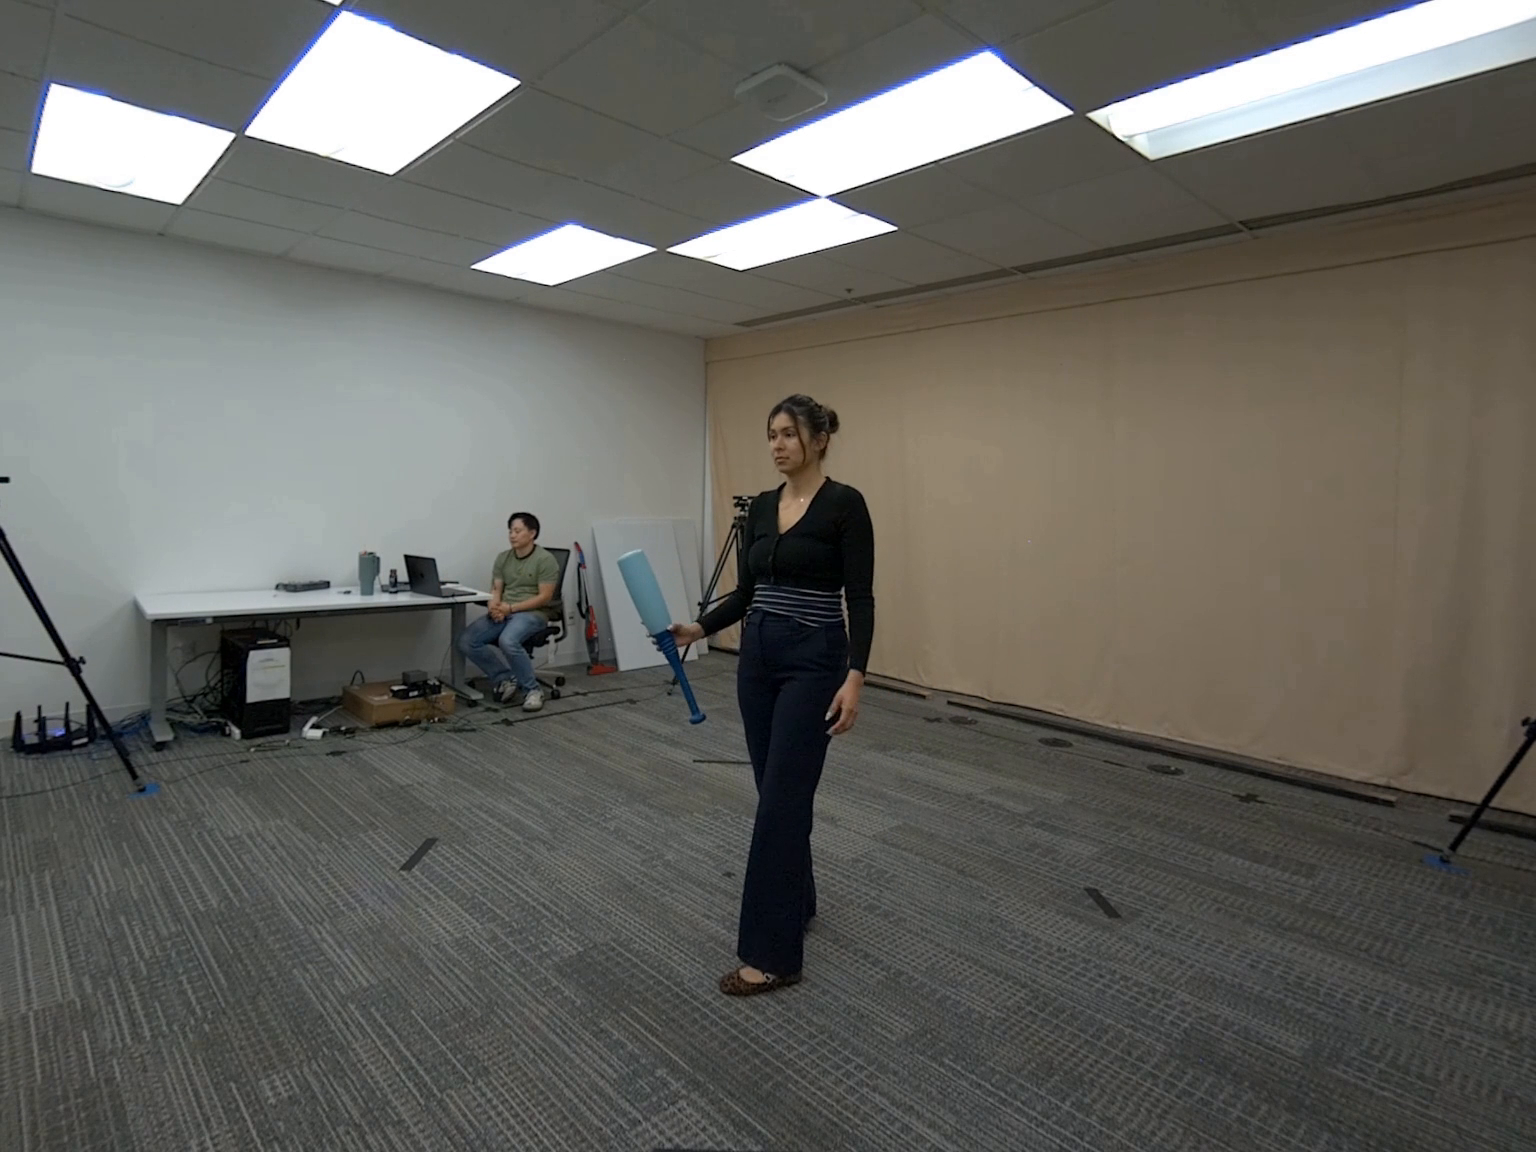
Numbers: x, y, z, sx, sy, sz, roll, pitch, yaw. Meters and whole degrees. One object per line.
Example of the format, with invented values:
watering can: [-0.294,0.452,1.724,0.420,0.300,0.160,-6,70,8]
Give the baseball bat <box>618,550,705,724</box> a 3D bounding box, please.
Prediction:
baseball bat: [-0.302,0.166,2.481,0.089,0.543,0.089,-23,0,-1]
